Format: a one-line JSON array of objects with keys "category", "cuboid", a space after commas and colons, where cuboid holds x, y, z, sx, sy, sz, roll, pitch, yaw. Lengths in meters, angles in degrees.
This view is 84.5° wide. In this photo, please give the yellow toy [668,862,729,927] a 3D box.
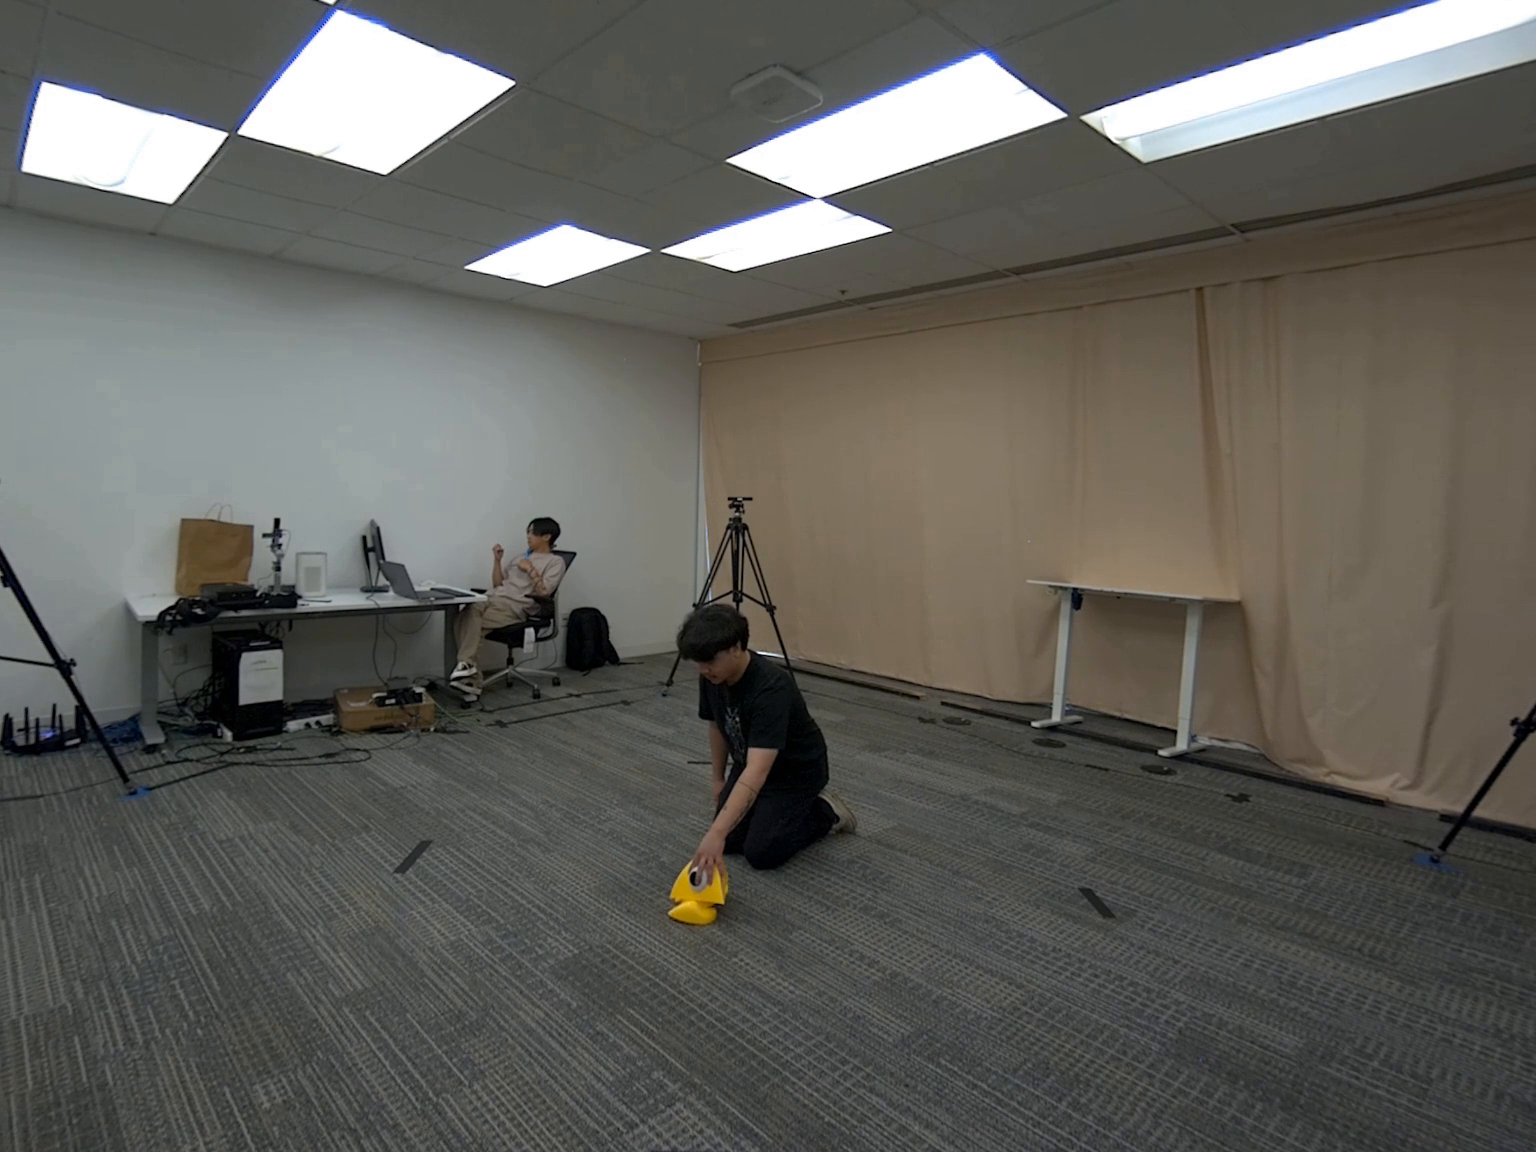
[{"category": "yellow toy", "cuboid": [-0.238, 1.016, 2.833, 0.194, 0.230, 0.205, 7, 4, 3]}]
